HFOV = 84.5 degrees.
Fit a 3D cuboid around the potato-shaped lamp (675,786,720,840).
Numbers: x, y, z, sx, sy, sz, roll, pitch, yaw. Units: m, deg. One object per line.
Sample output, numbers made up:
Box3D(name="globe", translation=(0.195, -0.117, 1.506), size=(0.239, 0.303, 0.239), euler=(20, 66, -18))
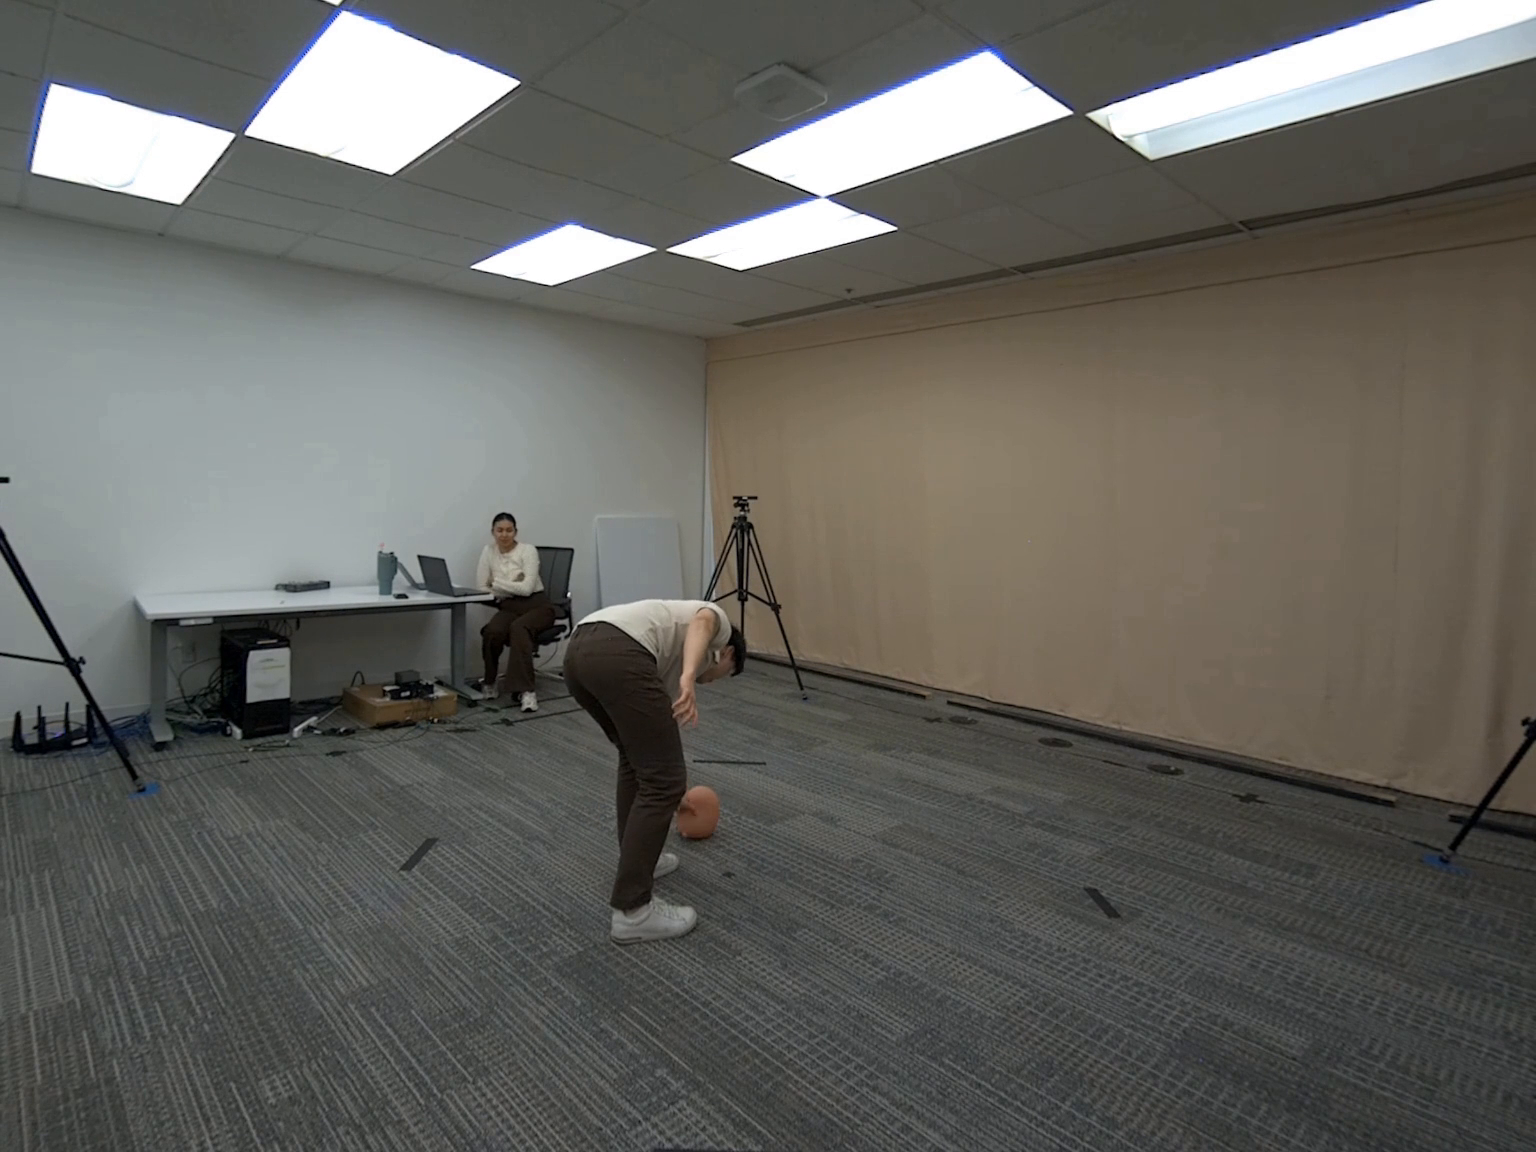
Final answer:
Box3D(name="potato-shaped lamp", translation=(-0.295, 0.963, 3.468), size=(0.169, 0.199, 0.166), euler=(8, -5, -18))
